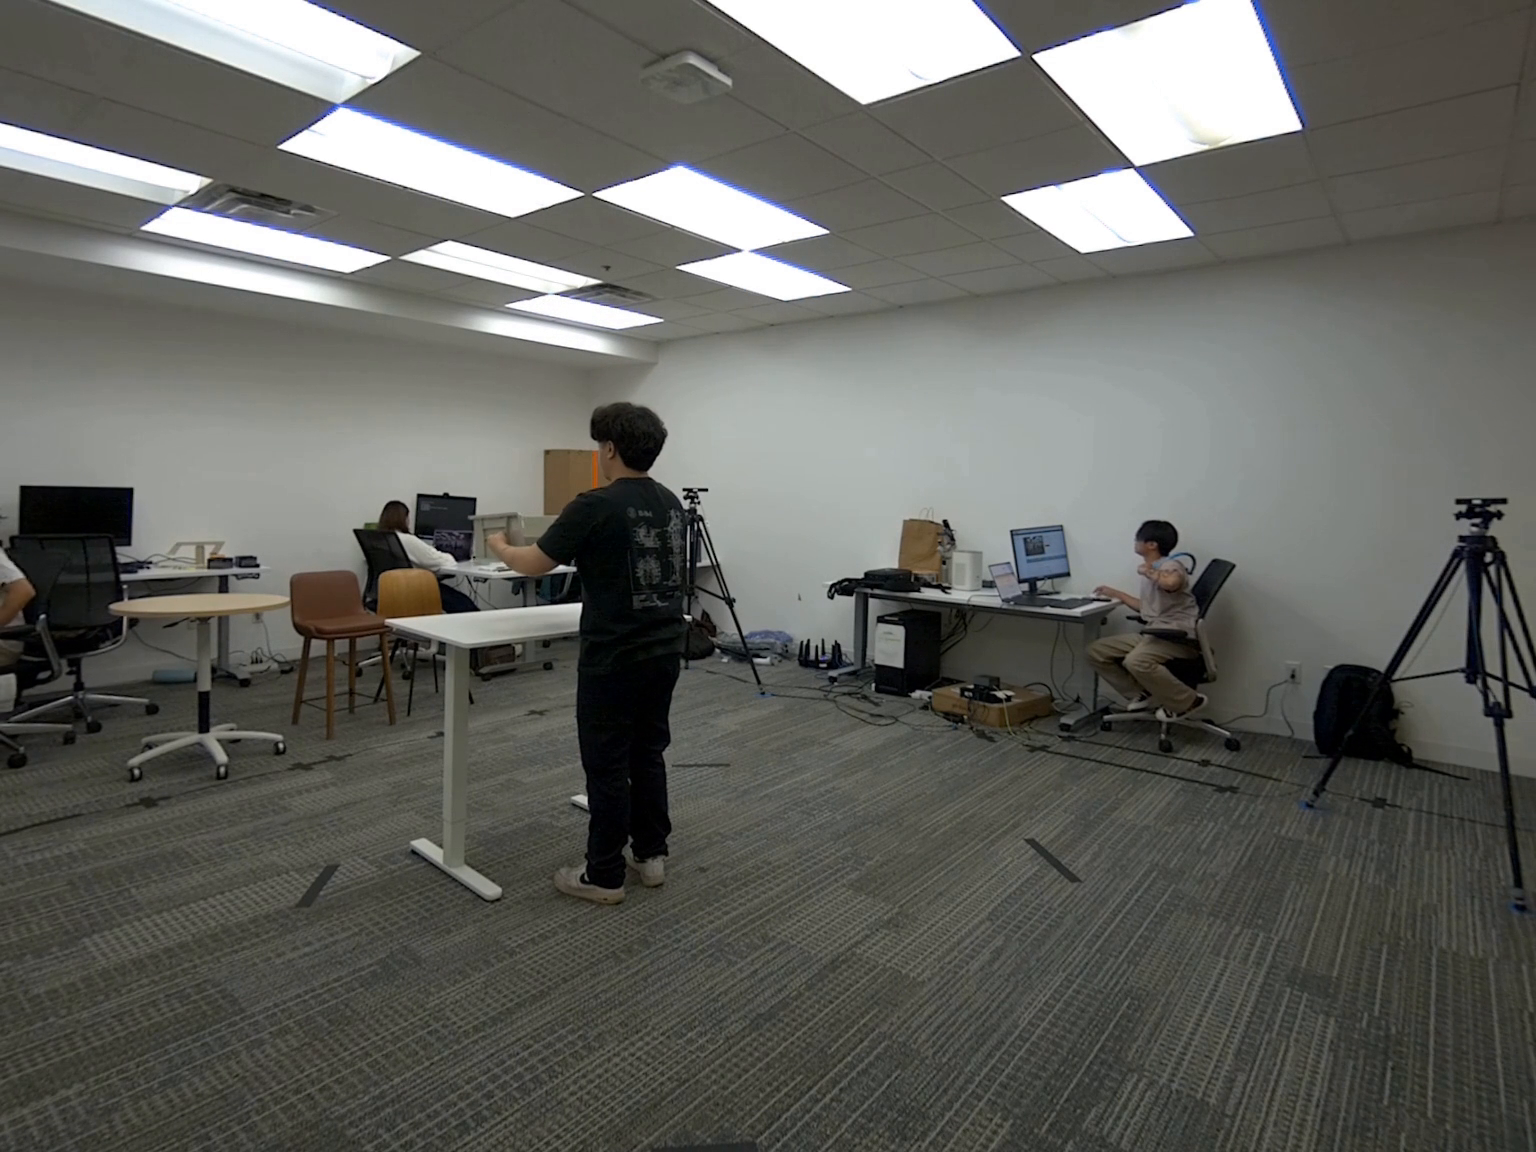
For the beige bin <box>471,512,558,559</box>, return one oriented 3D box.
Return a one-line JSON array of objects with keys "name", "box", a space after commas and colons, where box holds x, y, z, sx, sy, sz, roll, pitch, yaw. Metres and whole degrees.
[{"name": "beige bin", "box": [-0.872, -0.149, 3.271, 0.389, 0.189, 0.410, -1, 2, 43]}]
